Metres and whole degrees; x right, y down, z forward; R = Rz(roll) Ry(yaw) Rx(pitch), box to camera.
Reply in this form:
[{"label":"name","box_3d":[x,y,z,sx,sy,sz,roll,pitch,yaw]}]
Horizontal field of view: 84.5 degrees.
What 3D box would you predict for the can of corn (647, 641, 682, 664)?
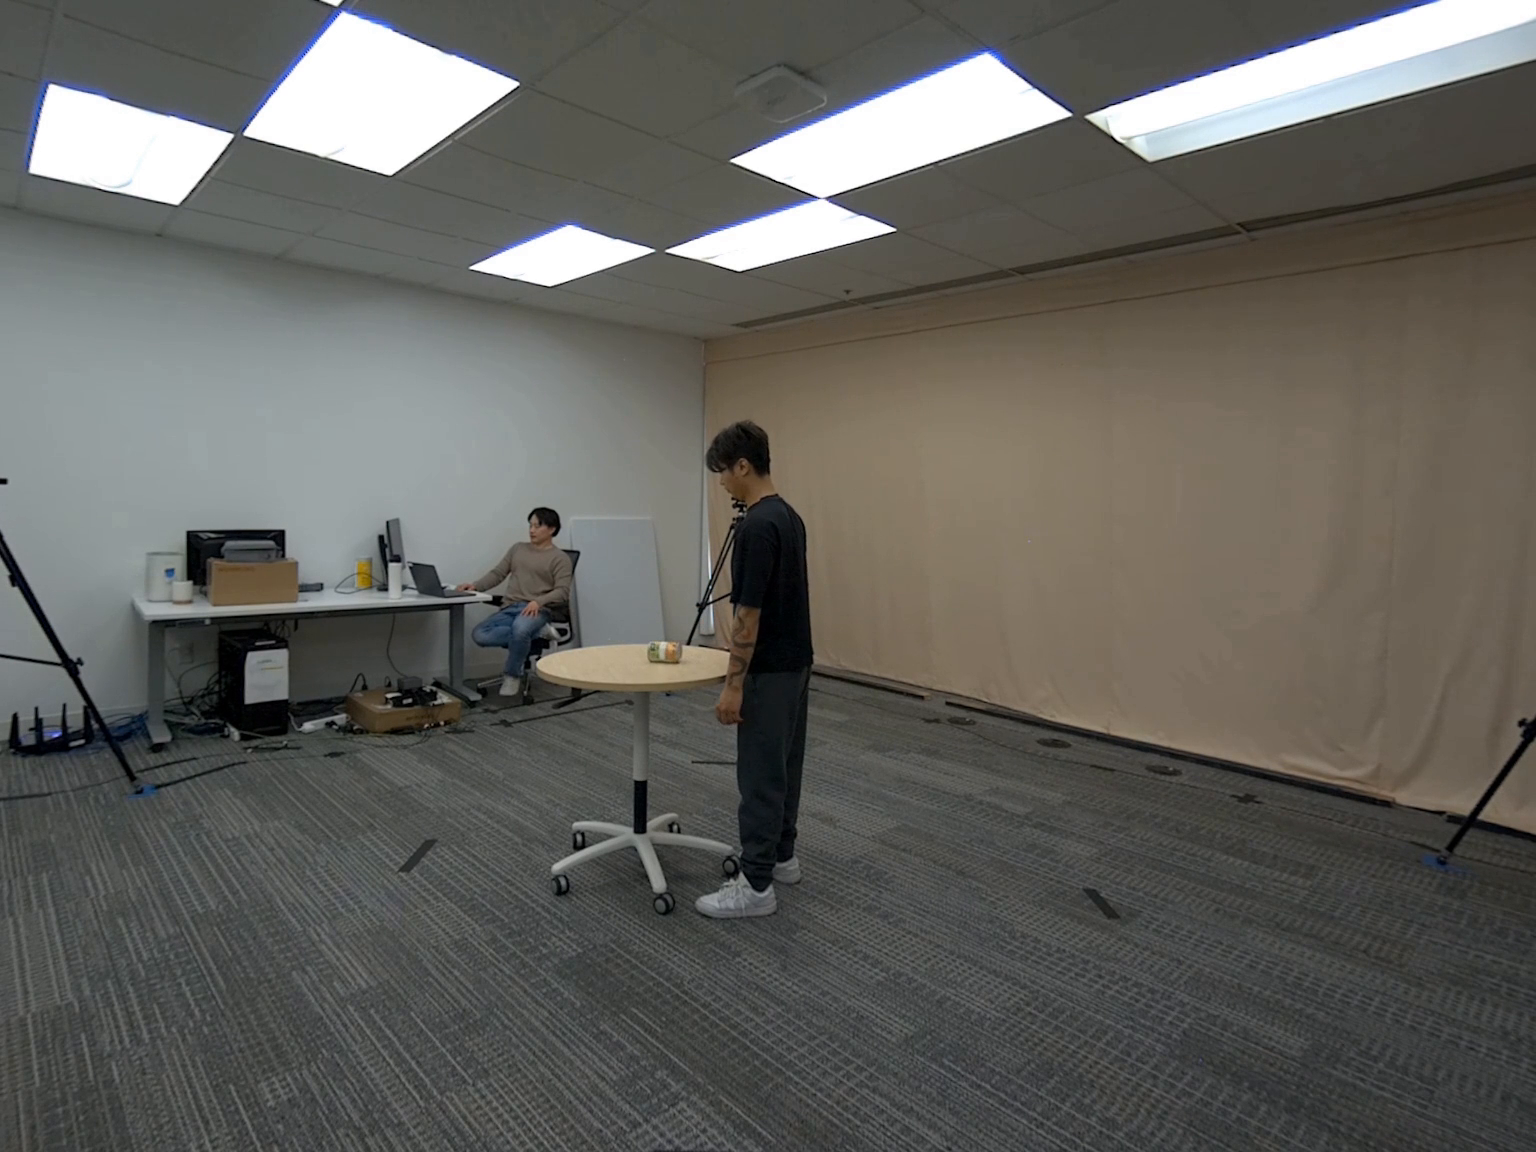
[{"label":"can of corn","box_3d":[-0.384,0.278,3.107,0.112,0.074,0.074,-1,4,8]}]
